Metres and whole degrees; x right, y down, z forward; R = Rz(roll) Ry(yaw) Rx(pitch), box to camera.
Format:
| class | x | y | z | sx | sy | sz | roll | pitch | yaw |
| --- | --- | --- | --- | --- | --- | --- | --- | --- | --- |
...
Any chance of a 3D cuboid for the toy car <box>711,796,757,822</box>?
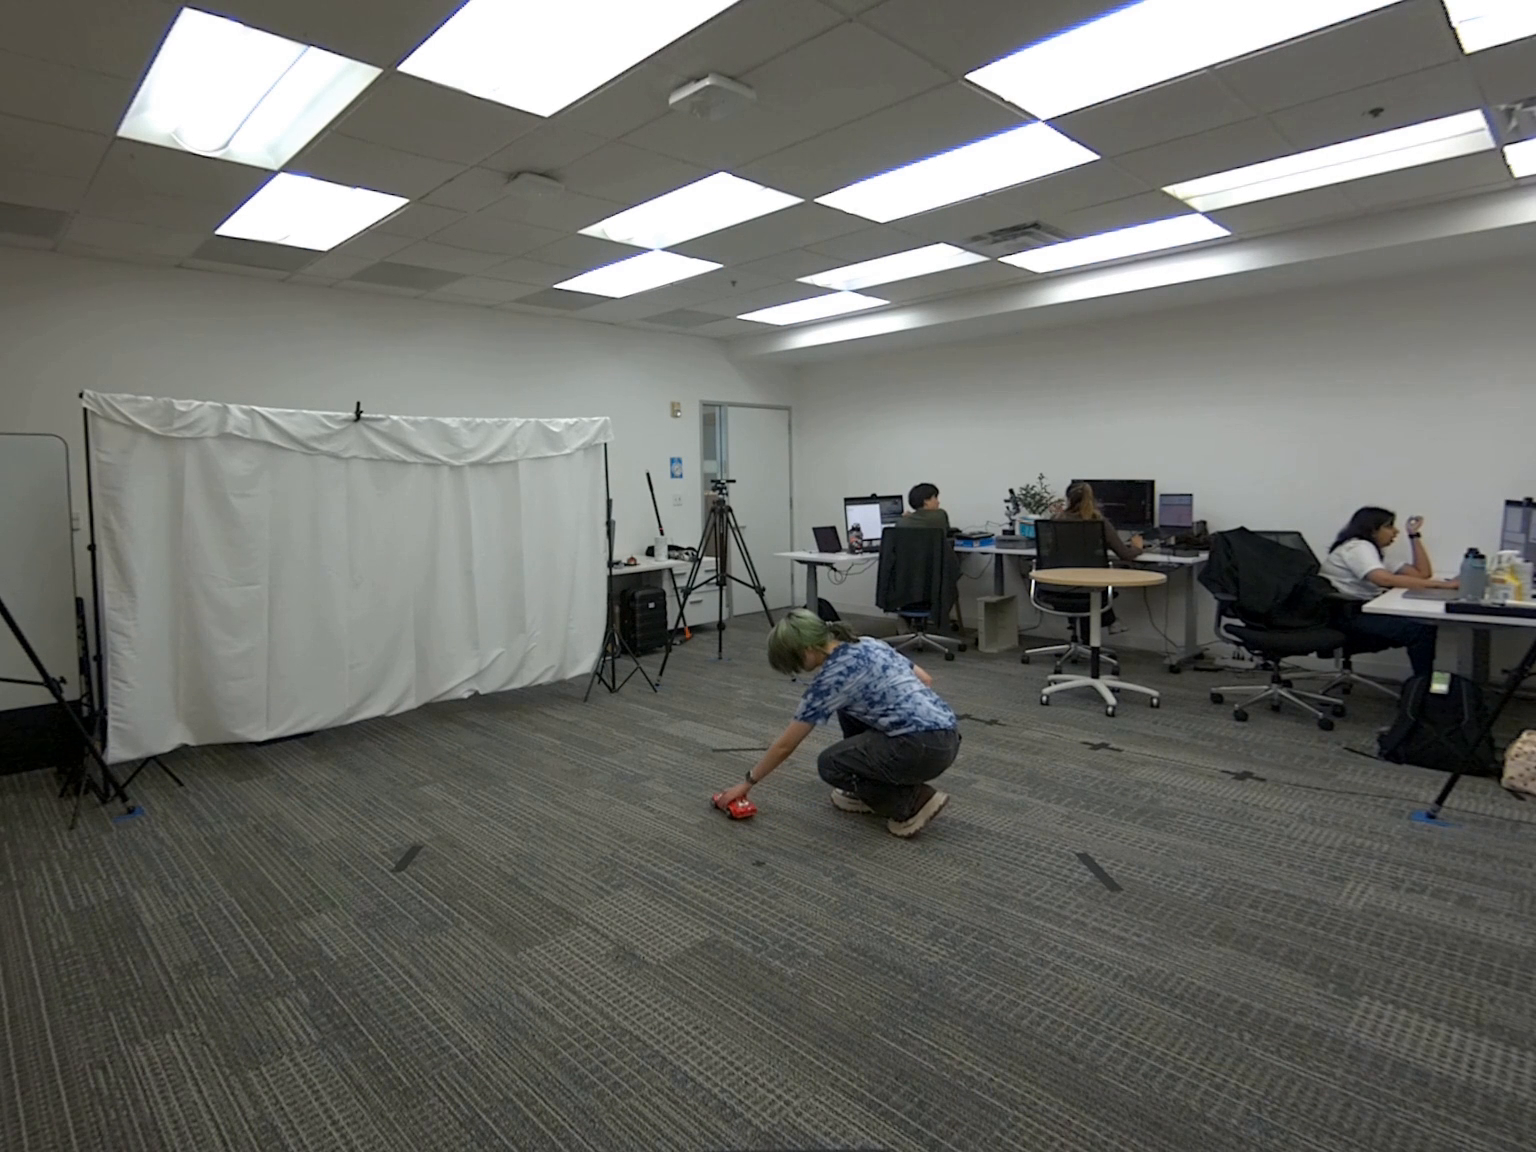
| class | x | y | z | sx | sy | sz | roll | pitch | yaw |
| --- | --- | --- | --- | --- | --- | --- | --- | --- | --- |
| toy car | -0.132 | 0.967 | 3.583 | 0.127 | 0.084 | 0.259 | -3 | -5 | -29 |
